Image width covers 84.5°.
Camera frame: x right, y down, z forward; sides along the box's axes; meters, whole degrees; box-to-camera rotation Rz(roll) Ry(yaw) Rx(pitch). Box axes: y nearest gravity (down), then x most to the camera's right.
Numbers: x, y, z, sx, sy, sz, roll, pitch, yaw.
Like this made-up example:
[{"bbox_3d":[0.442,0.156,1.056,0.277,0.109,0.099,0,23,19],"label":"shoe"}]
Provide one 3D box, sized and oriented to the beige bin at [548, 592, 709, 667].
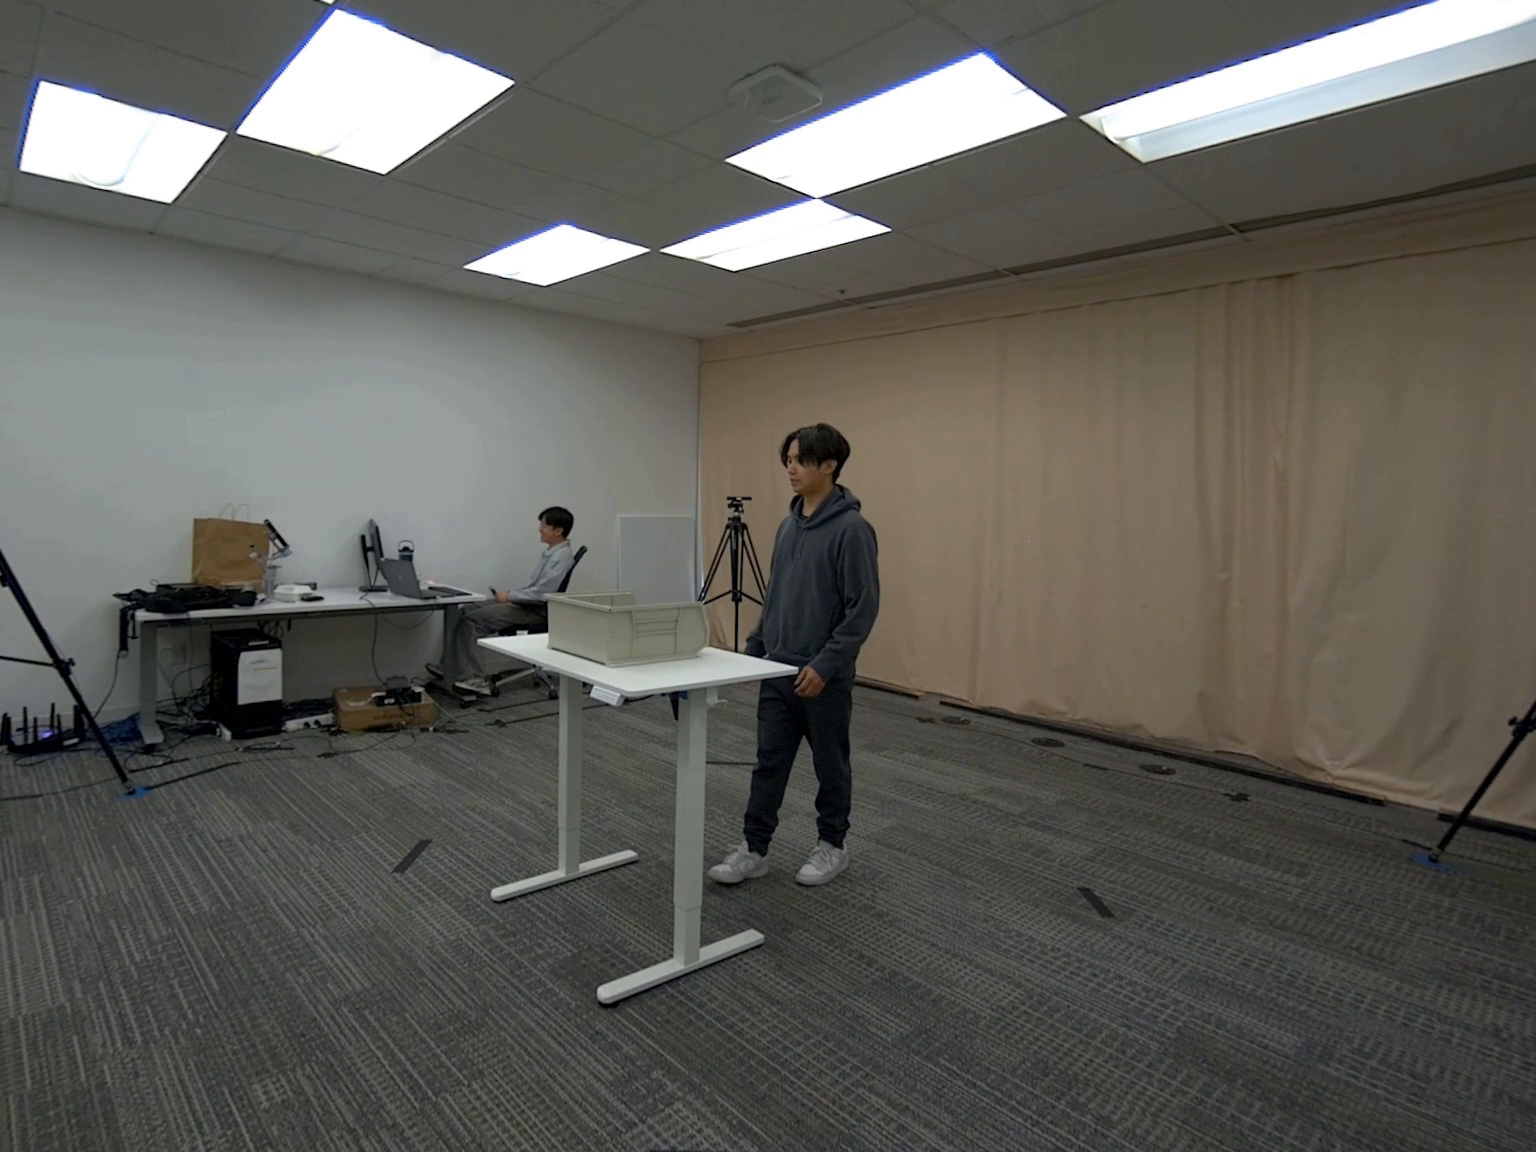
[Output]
[{"bbox_3d":[-0.465,0.162,2.725,0.369,0.188,0.433,-3,6,-40],"label":"beige bin"}]
